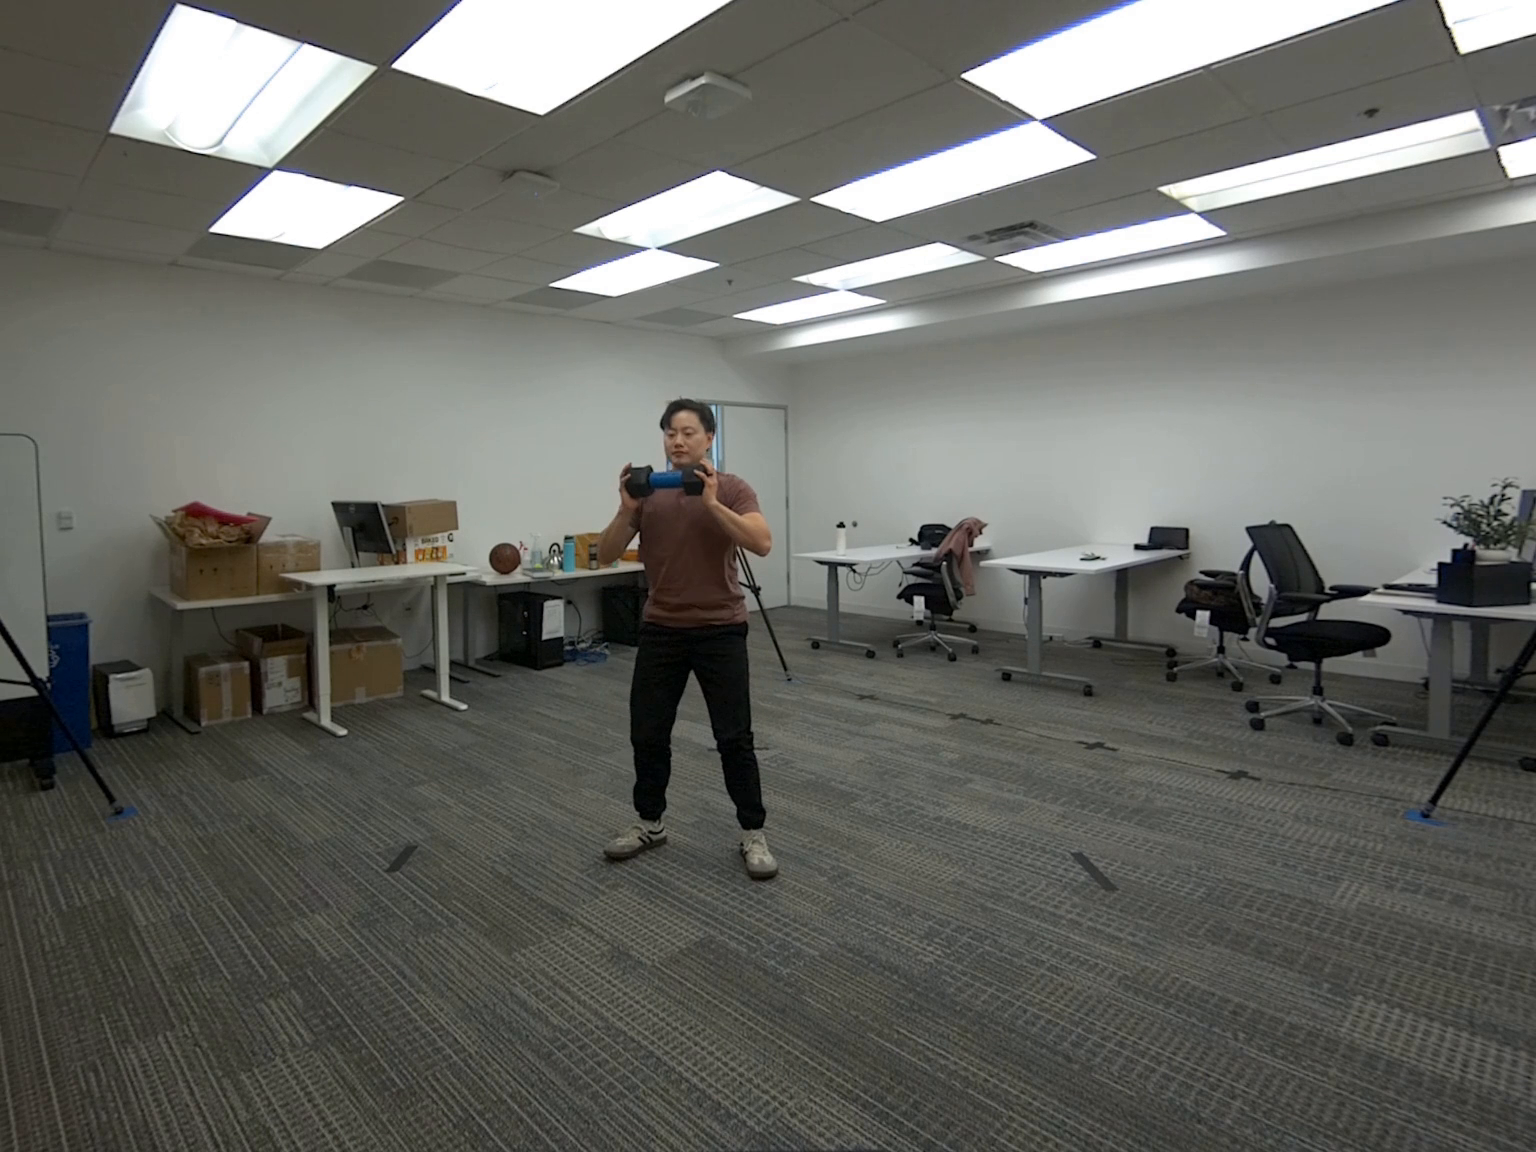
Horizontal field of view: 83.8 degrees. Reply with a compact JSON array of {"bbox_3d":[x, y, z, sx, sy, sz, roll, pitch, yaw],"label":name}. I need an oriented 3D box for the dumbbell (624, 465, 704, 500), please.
[{"bbox_3d":[-0.347,-0.313,2.970,0.298,0.119,0.110,3,43,15],"label":"dumbbell"}]
